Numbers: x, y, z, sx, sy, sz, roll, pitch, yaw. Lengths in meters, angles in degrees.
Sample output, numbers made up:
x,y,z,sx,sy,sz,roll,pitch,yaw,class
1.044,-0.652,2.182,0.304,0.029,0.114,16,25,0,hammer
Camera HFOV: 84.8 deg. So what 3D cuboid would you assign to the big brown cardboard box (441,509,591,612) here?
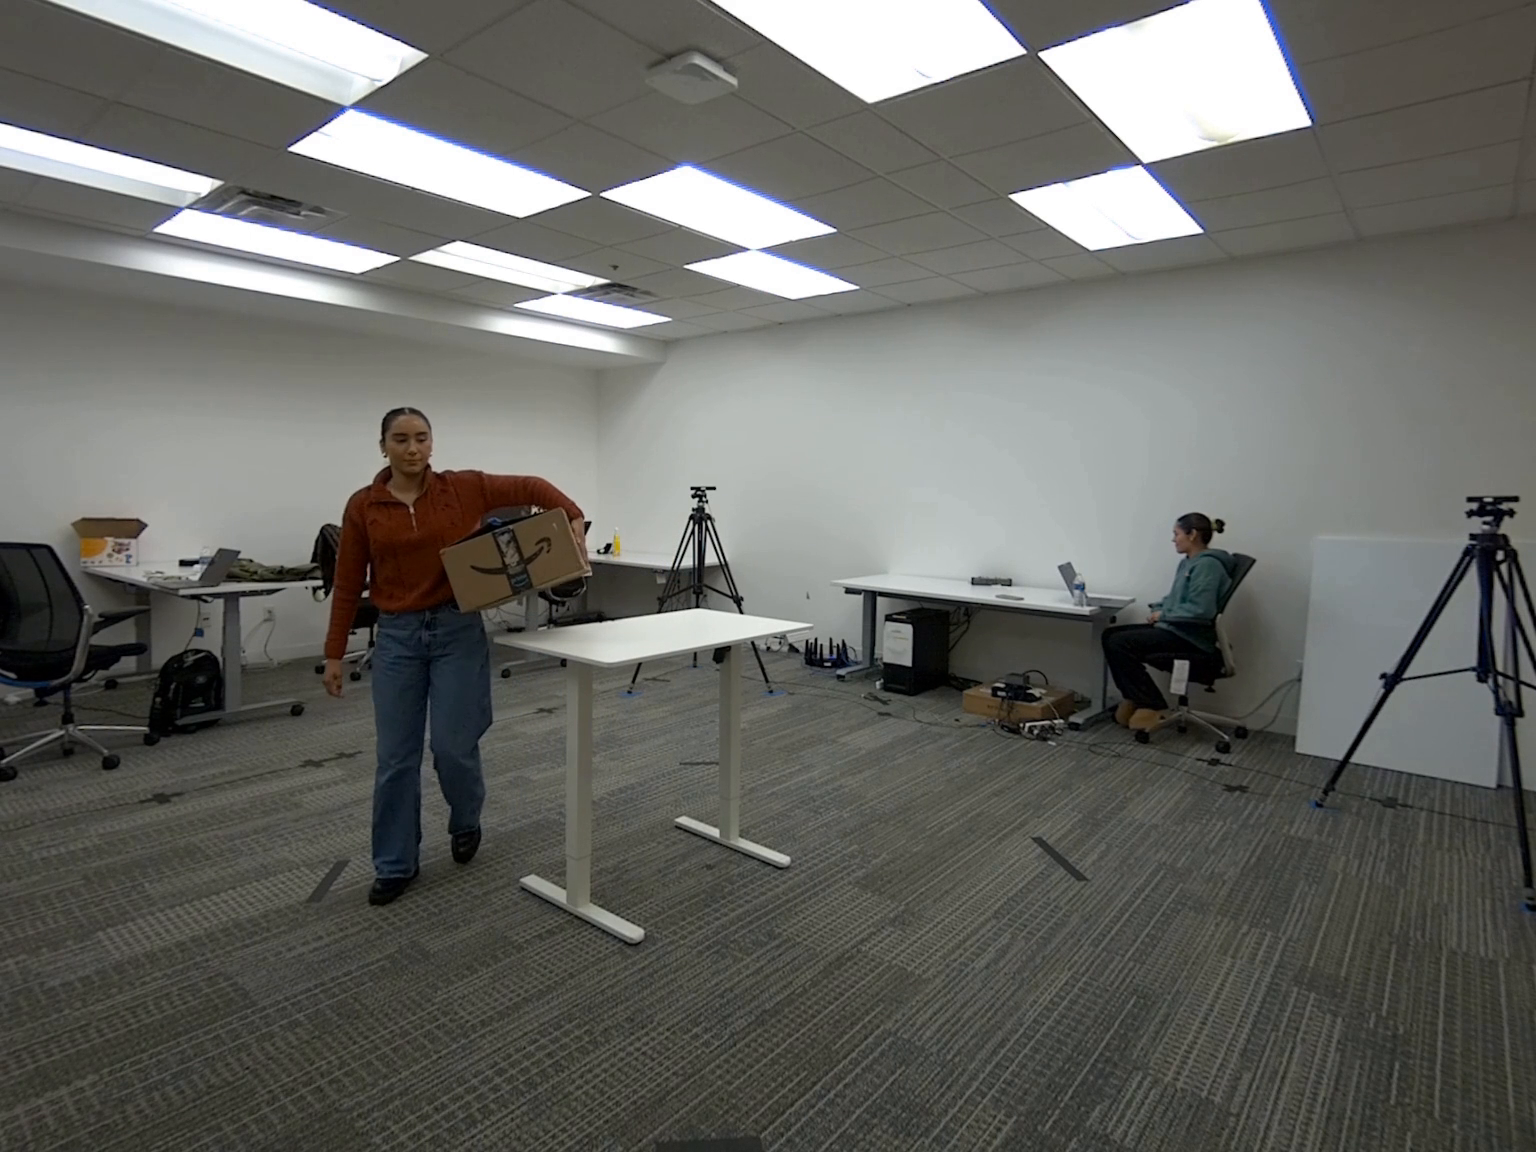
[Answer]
x,y,z,sx,sy,sz,roll,pitch,yaw,class
-0.881,-0.055,2.990,0.415,0.233,0.592,-20,1,-9,big brown cardboard box
